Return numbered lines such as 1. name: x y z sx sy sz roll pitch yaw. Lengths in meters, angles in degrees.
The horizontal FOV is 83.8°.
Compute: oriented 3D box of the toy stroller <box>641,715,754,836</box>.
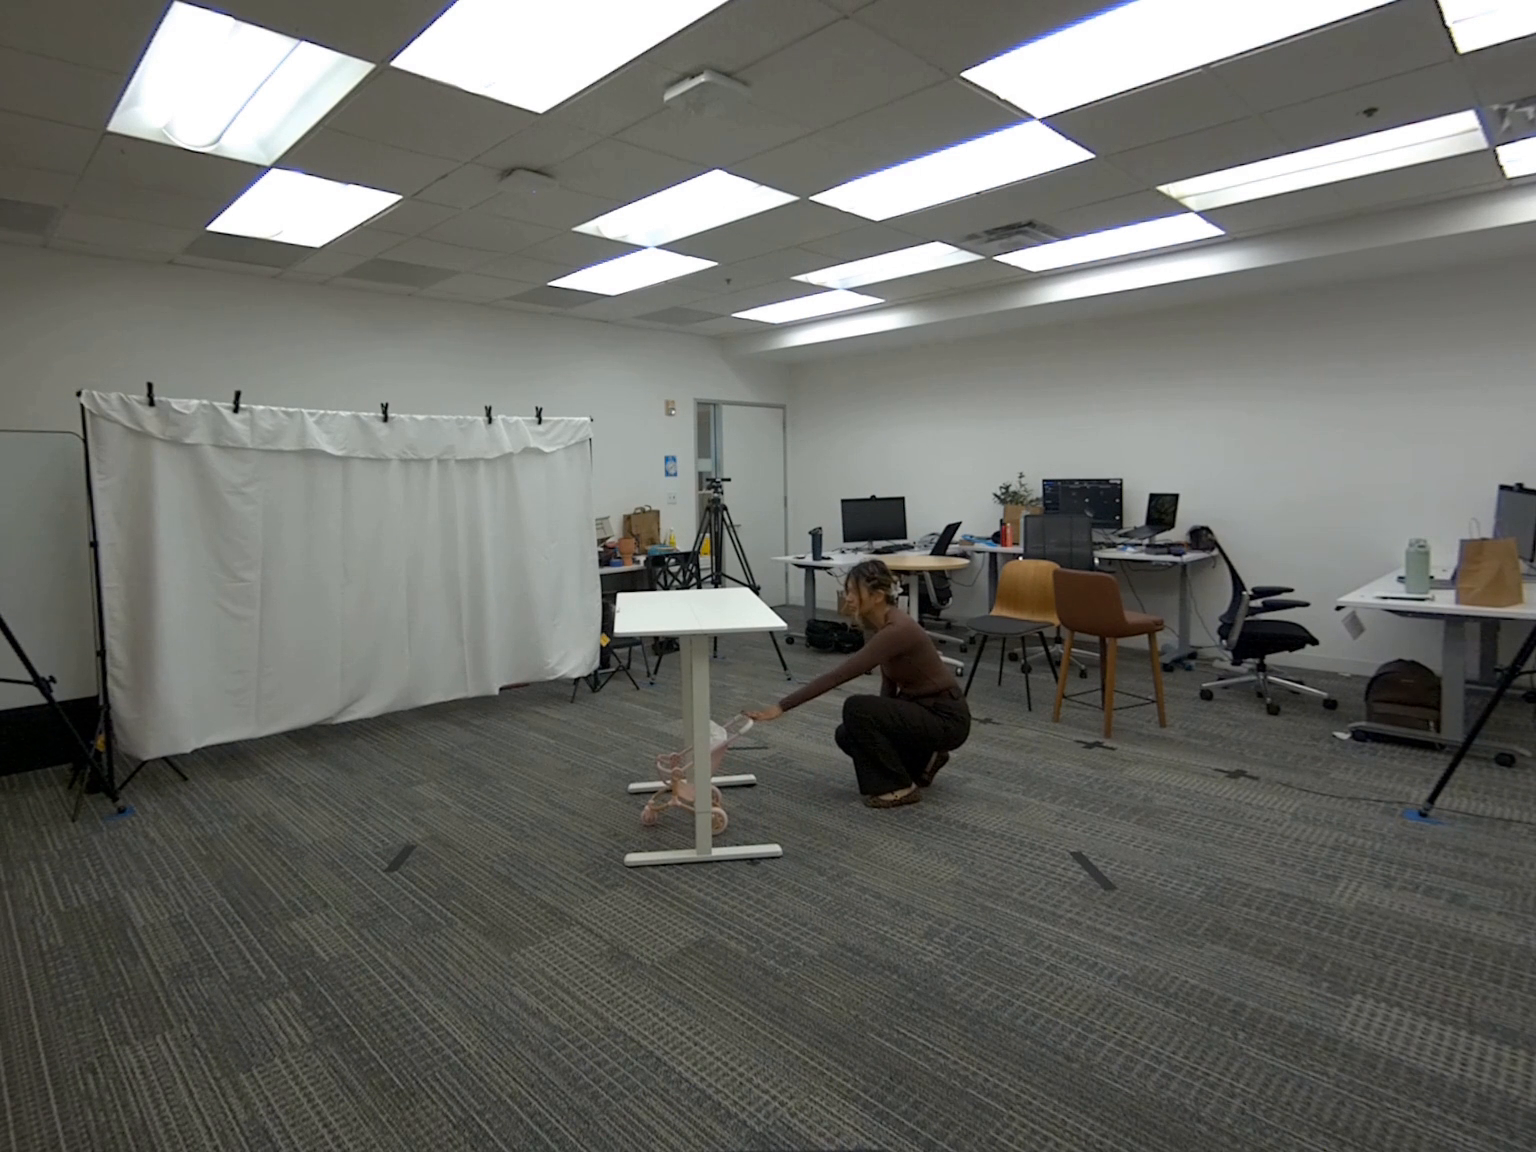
1. toy stroller: -0.294 0.778 3.466 0.340 0.534 0.283 15 3 -4
